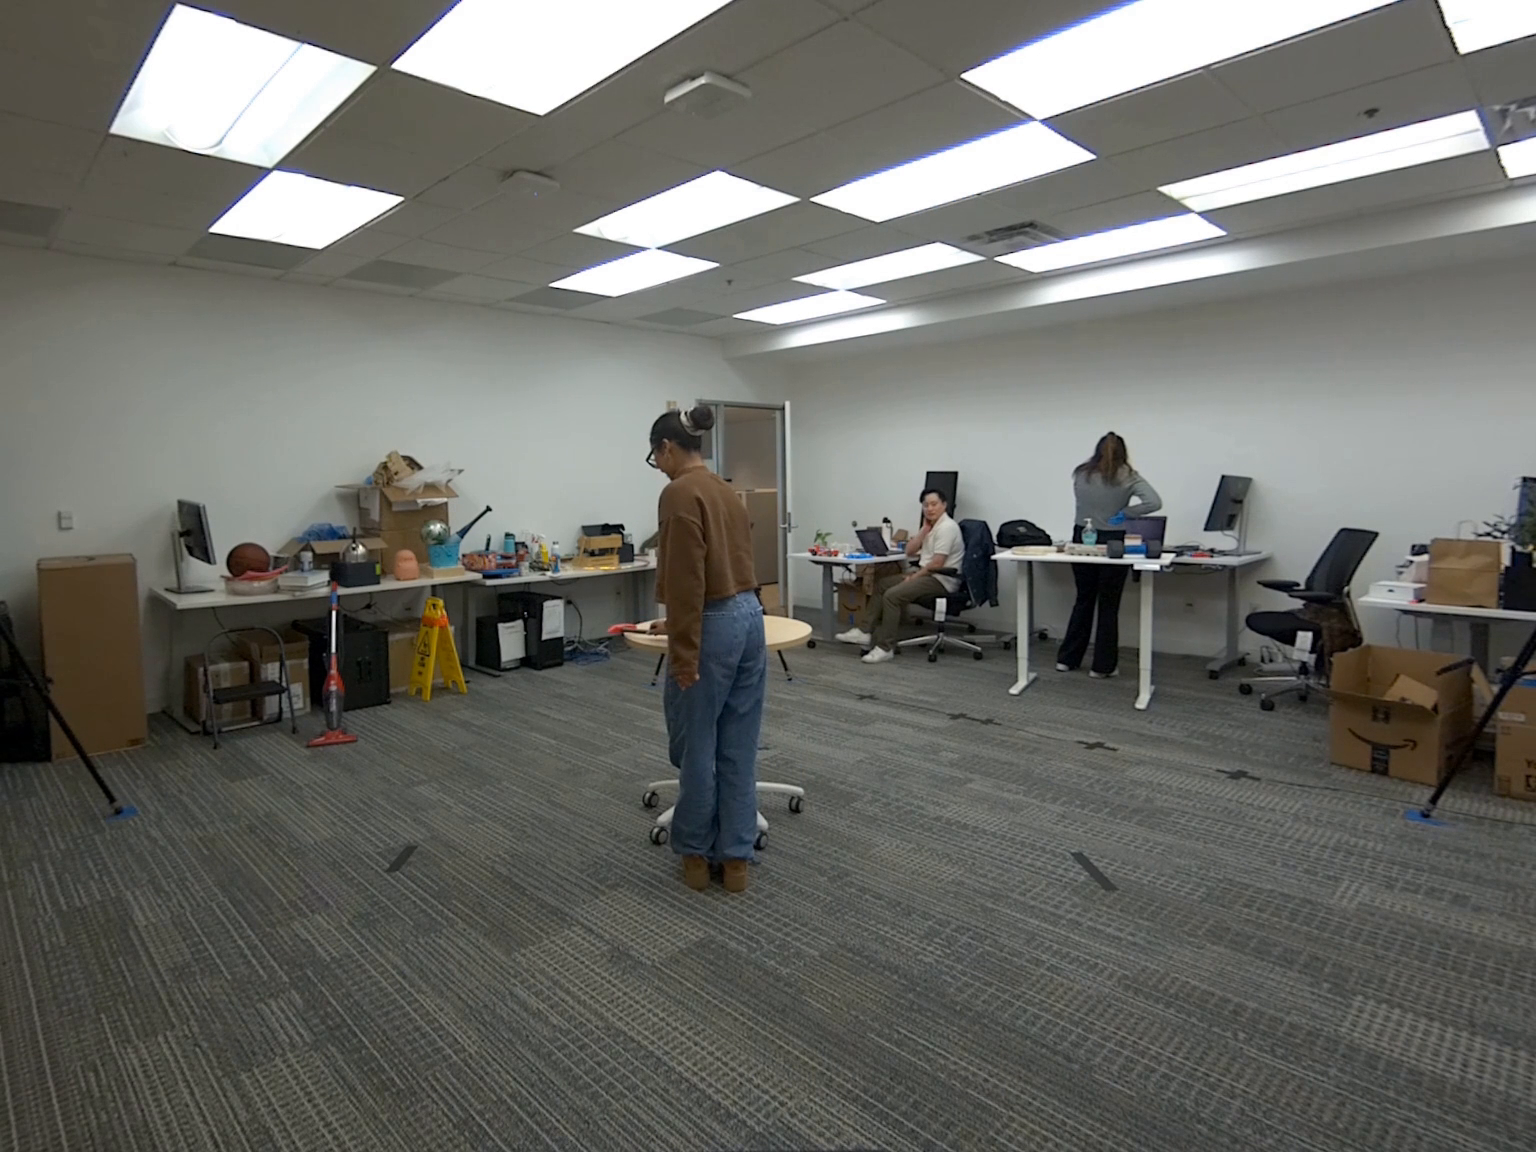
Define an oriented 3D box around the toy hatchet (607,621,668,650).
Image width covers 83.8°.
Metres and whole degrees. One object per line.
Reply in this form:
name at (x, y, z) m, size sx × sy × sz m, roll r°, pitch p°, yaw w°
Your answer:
toy hatchet at (-0.487, 0.226, 3.315) m, size 0.279 × 0.029 × 0.128 m, roll 13°, pitch 14°, yaw 43°
